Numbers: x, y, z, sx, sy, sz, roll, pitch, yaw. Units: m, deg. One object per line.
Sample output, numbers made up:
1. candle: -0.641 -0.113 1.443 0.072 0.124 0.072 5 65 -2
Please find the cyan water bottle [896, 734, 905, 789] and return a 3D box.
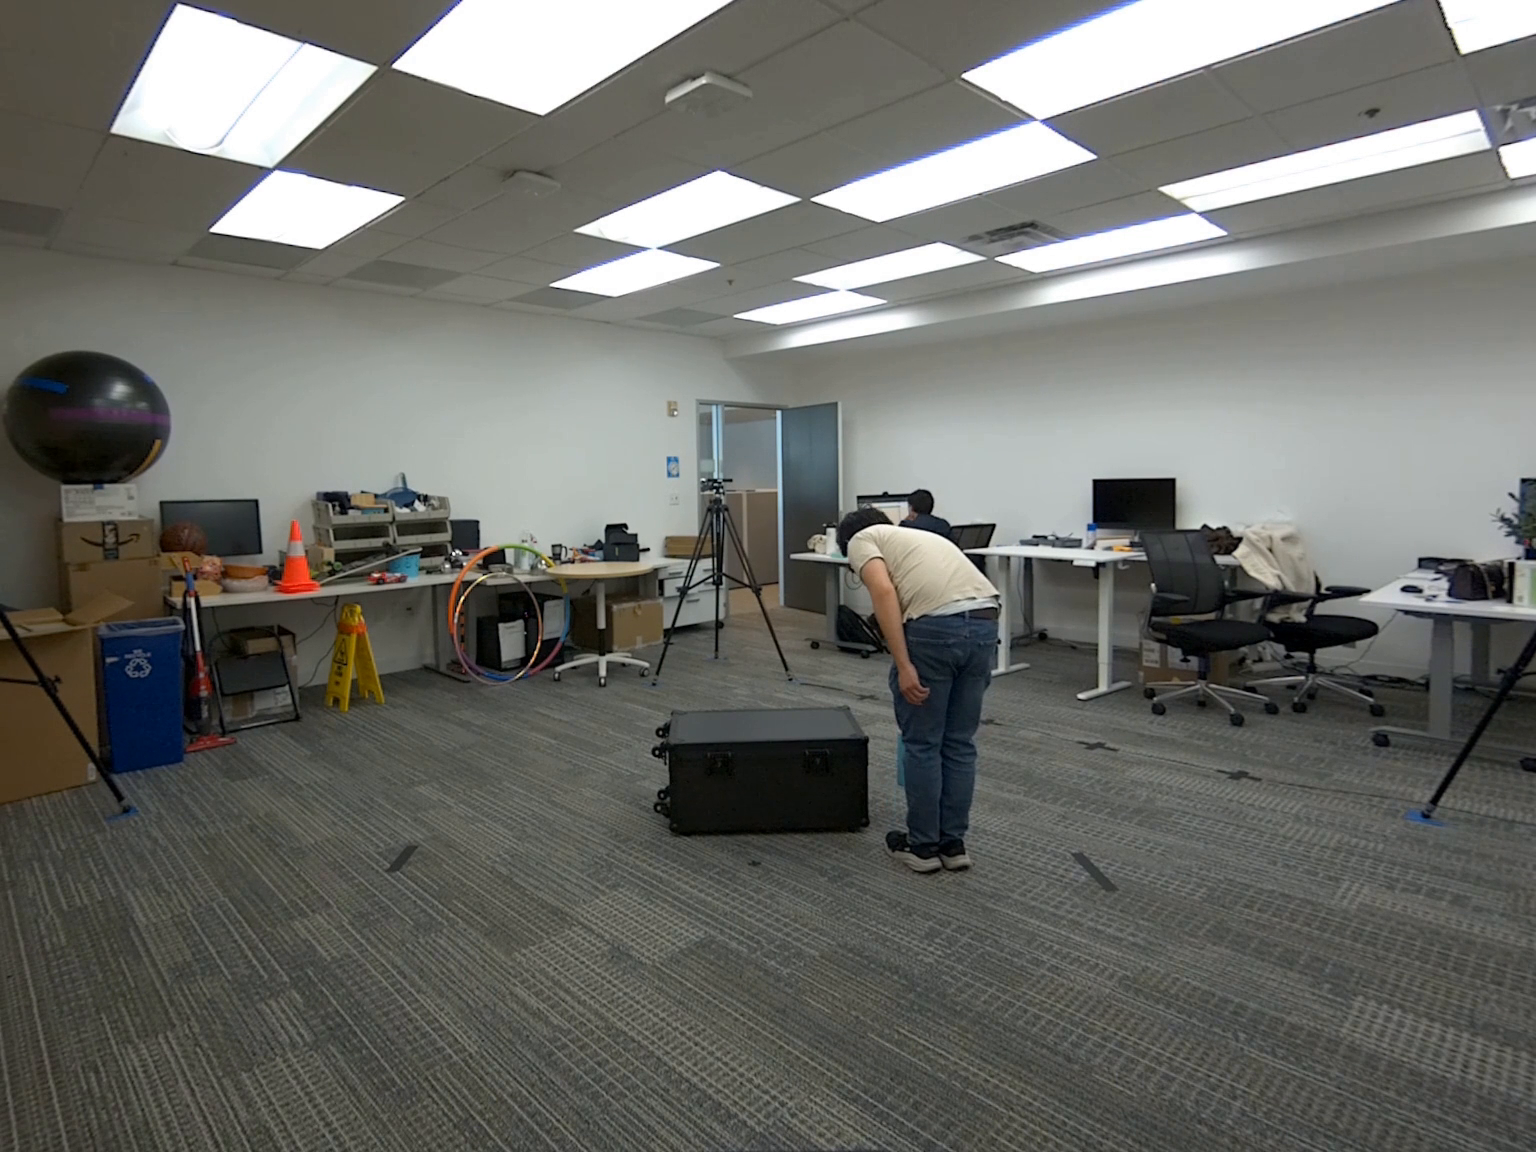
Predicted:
1. cyan water bottle: 0.588 0.705 3.471 0.092 0.283 0.092 -5 2 -1
